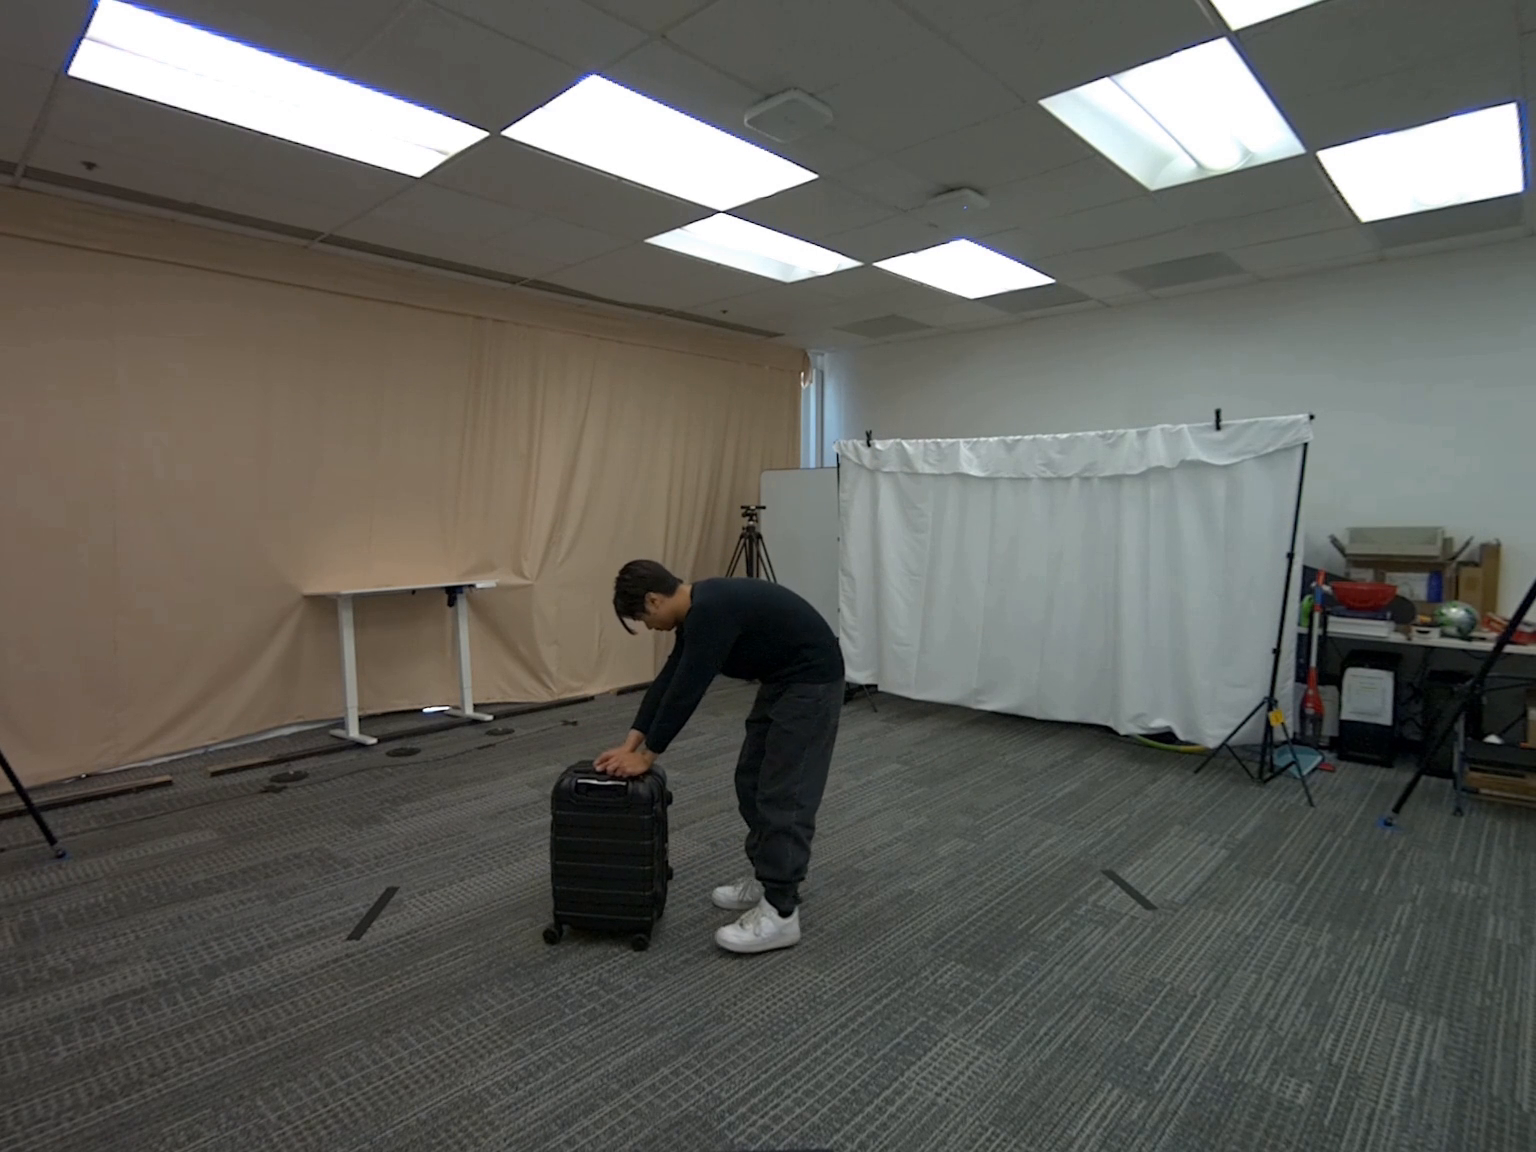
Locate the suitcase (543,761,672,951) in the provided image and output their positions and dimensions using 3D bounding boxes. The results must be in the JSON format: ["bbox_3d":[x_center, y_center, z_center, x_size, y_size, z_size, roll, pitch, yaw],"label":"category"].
[{"bbox_3d":[-0.518,0.892,2.759,0.379,0.549,0.246,1,0,7],"label":"suitcase"}]
